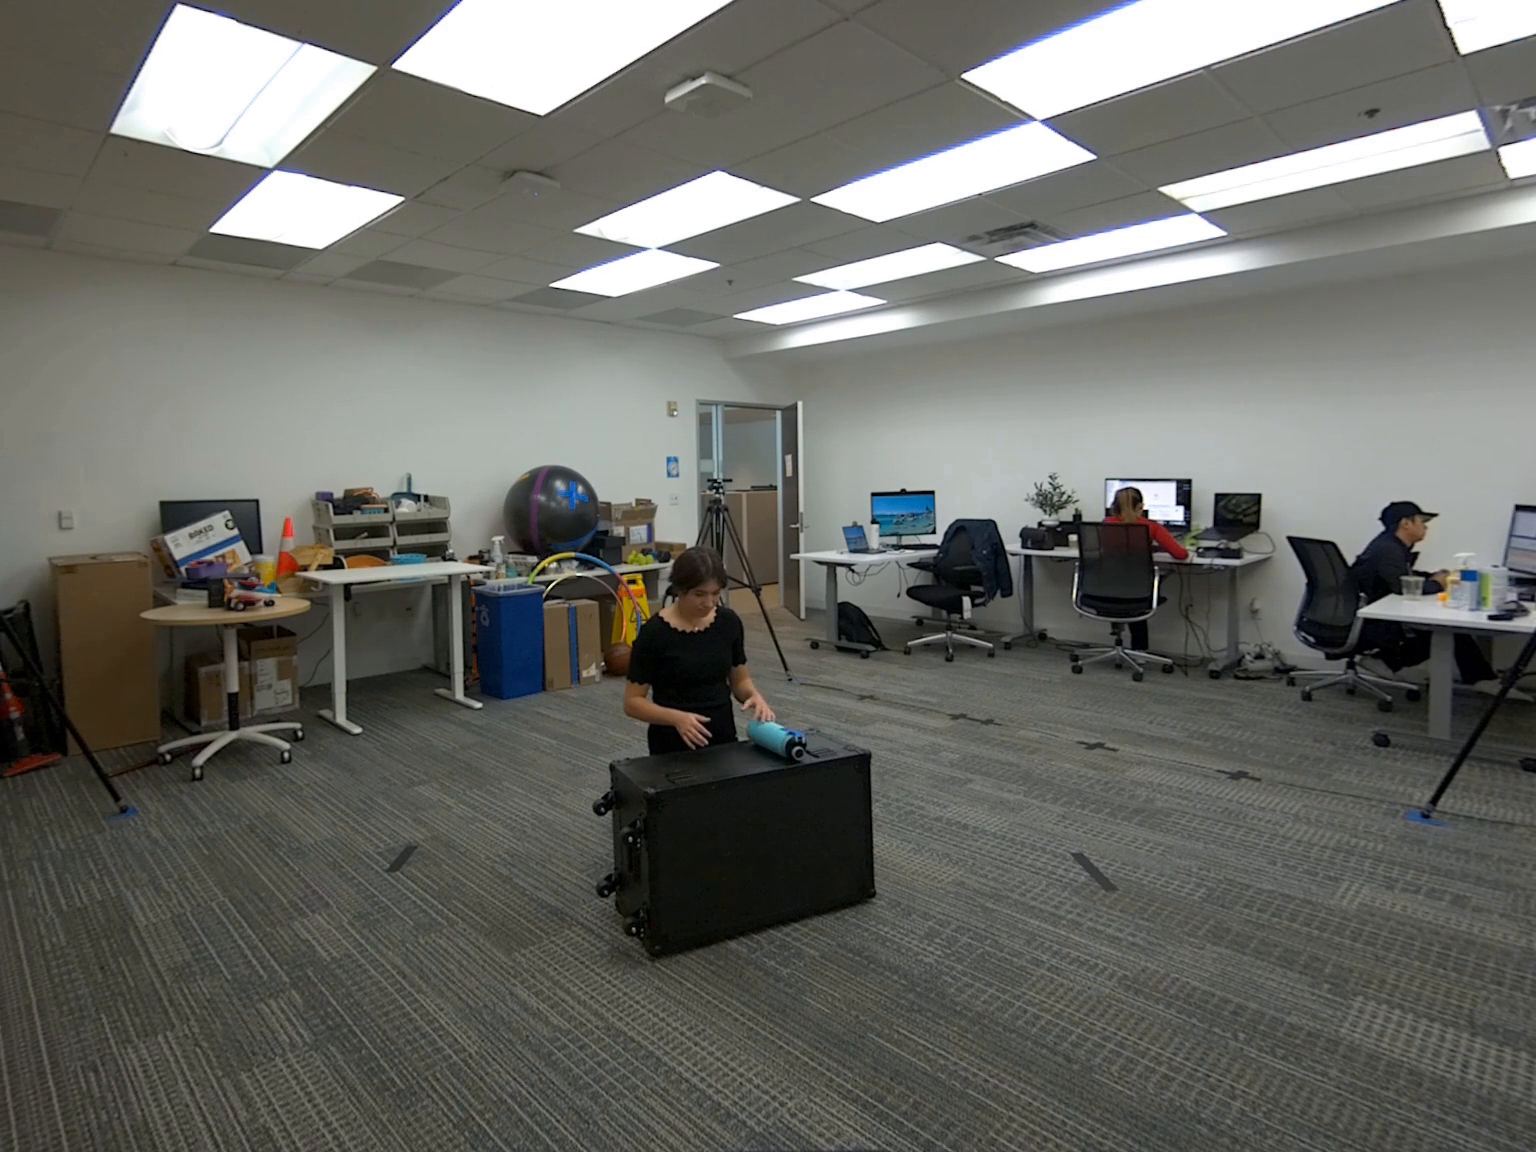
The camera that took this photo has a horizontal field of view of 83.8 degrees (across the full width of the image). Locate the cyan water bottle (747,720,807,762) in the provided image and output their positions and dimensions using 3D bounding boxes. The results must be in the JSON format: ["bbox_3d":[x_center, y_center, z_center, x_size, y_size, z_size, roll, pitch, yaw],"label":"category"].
[{"bbox_3d":[0.033,0.539,2.829,0.090,0.092,0.290,-3,4,-28],"label":"cyan water bottle"}]
